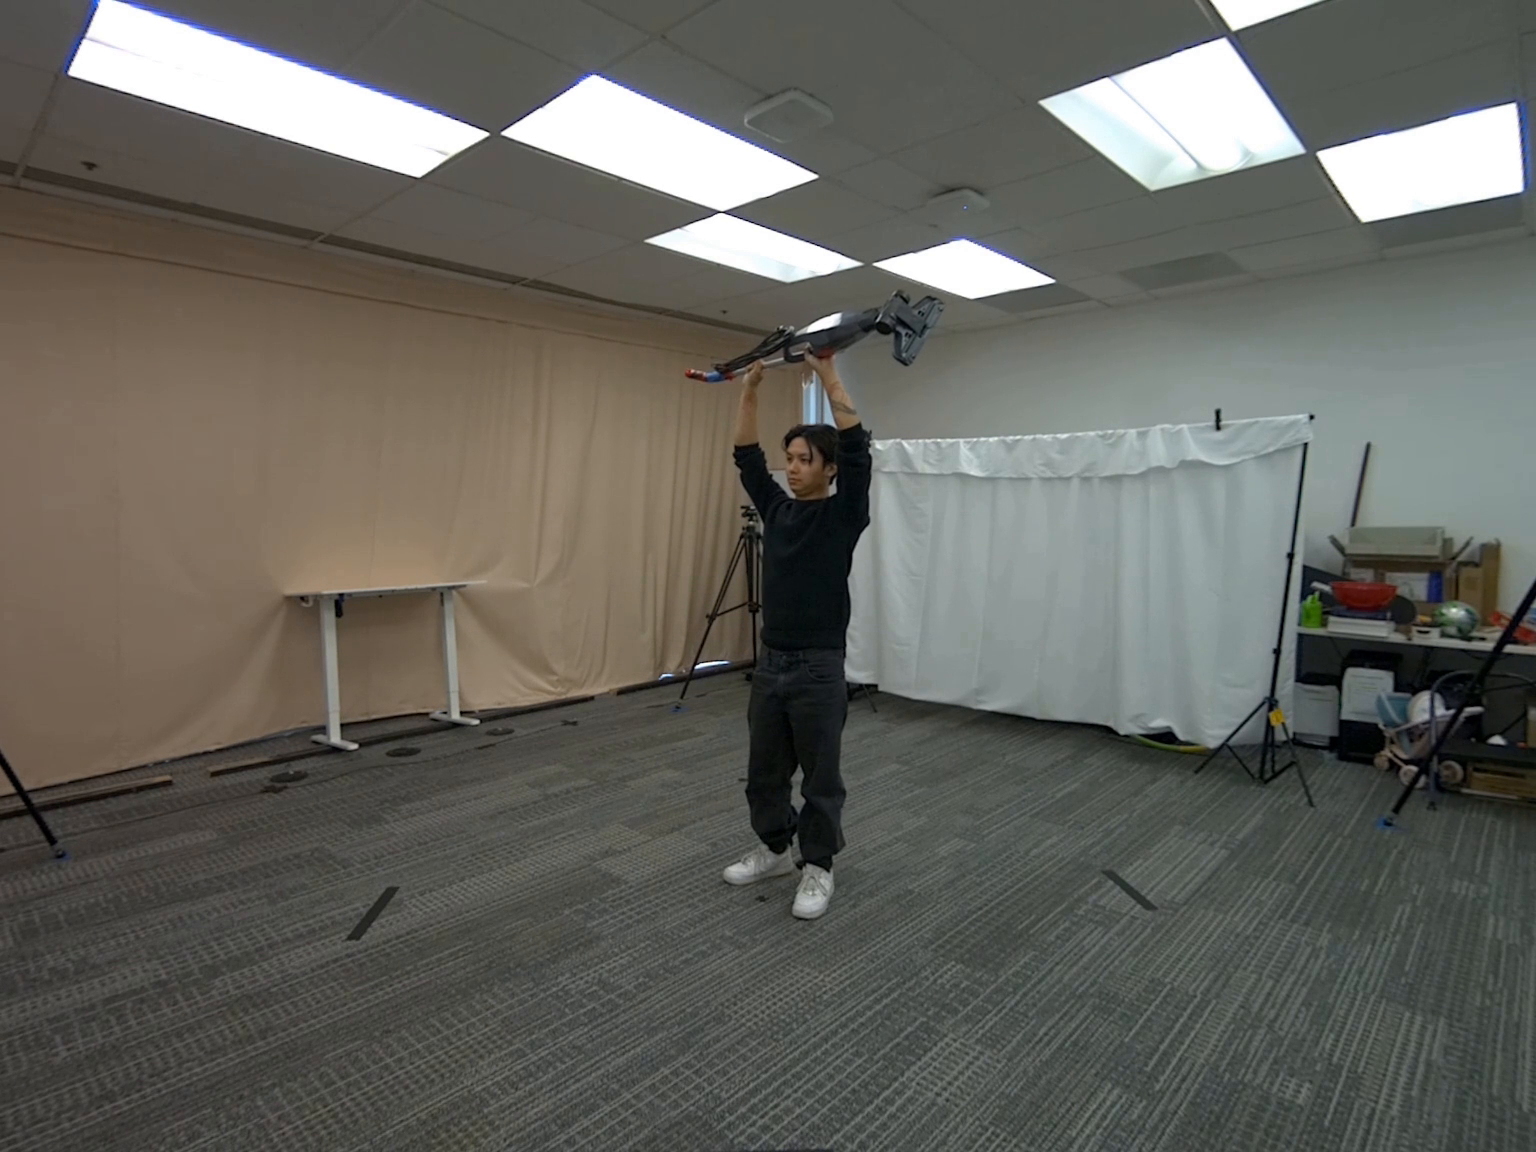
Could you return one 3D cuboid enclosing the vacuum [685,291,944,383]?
[{"bbox_3d":[0.053,-0.748,2.777,1.084,0.252,0.139,5,-36,49],"label":"vacuum"}]
